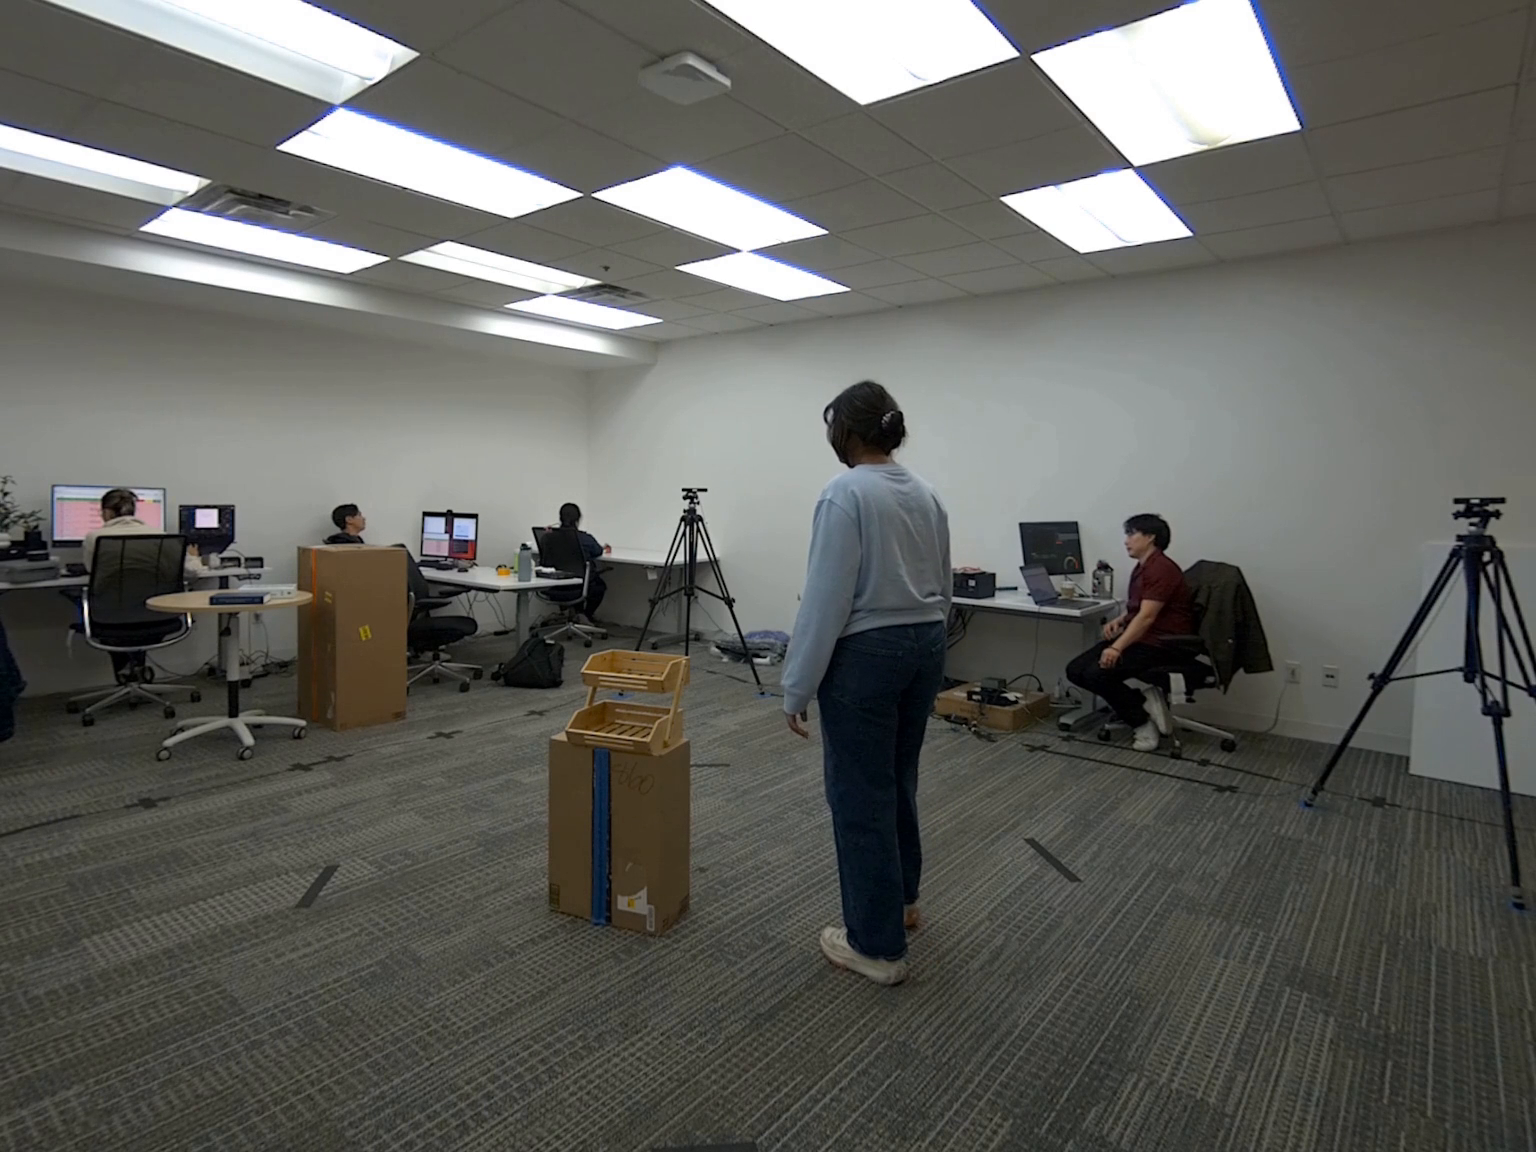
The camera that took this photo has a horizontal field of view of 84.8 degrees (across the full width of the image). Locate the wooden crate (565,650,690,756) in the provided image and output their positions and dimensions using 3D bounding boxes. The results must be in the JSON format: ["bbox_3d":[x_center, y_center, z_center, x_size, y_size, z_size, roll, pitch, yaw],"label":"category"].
[{"bbox_3d":[-0.465,0.401,2.780,0.331,0.273,0.296,2,3,20],"label":"wooden crate"}]
